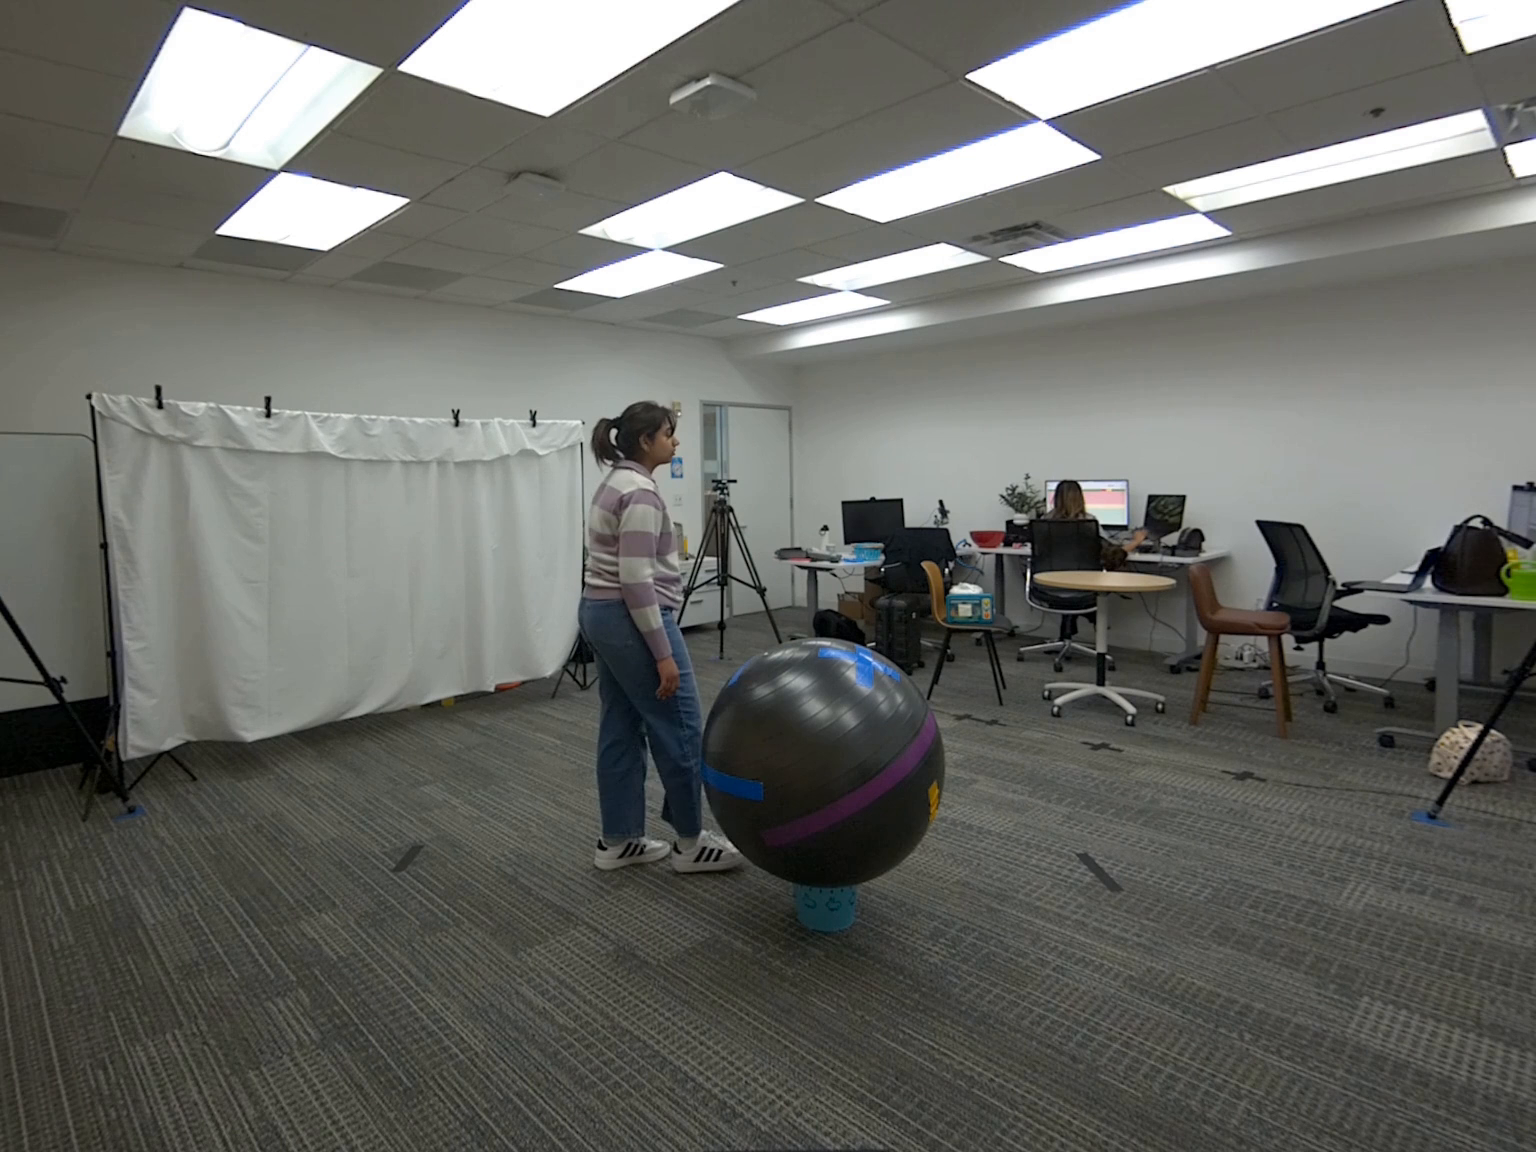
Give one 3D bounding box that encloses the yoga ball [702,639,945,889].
[{"bbox_3d":[0.171,0.587,2.680,0.757,0.755,0.762,-1,5,-2],"label":"yoga ball"}]
